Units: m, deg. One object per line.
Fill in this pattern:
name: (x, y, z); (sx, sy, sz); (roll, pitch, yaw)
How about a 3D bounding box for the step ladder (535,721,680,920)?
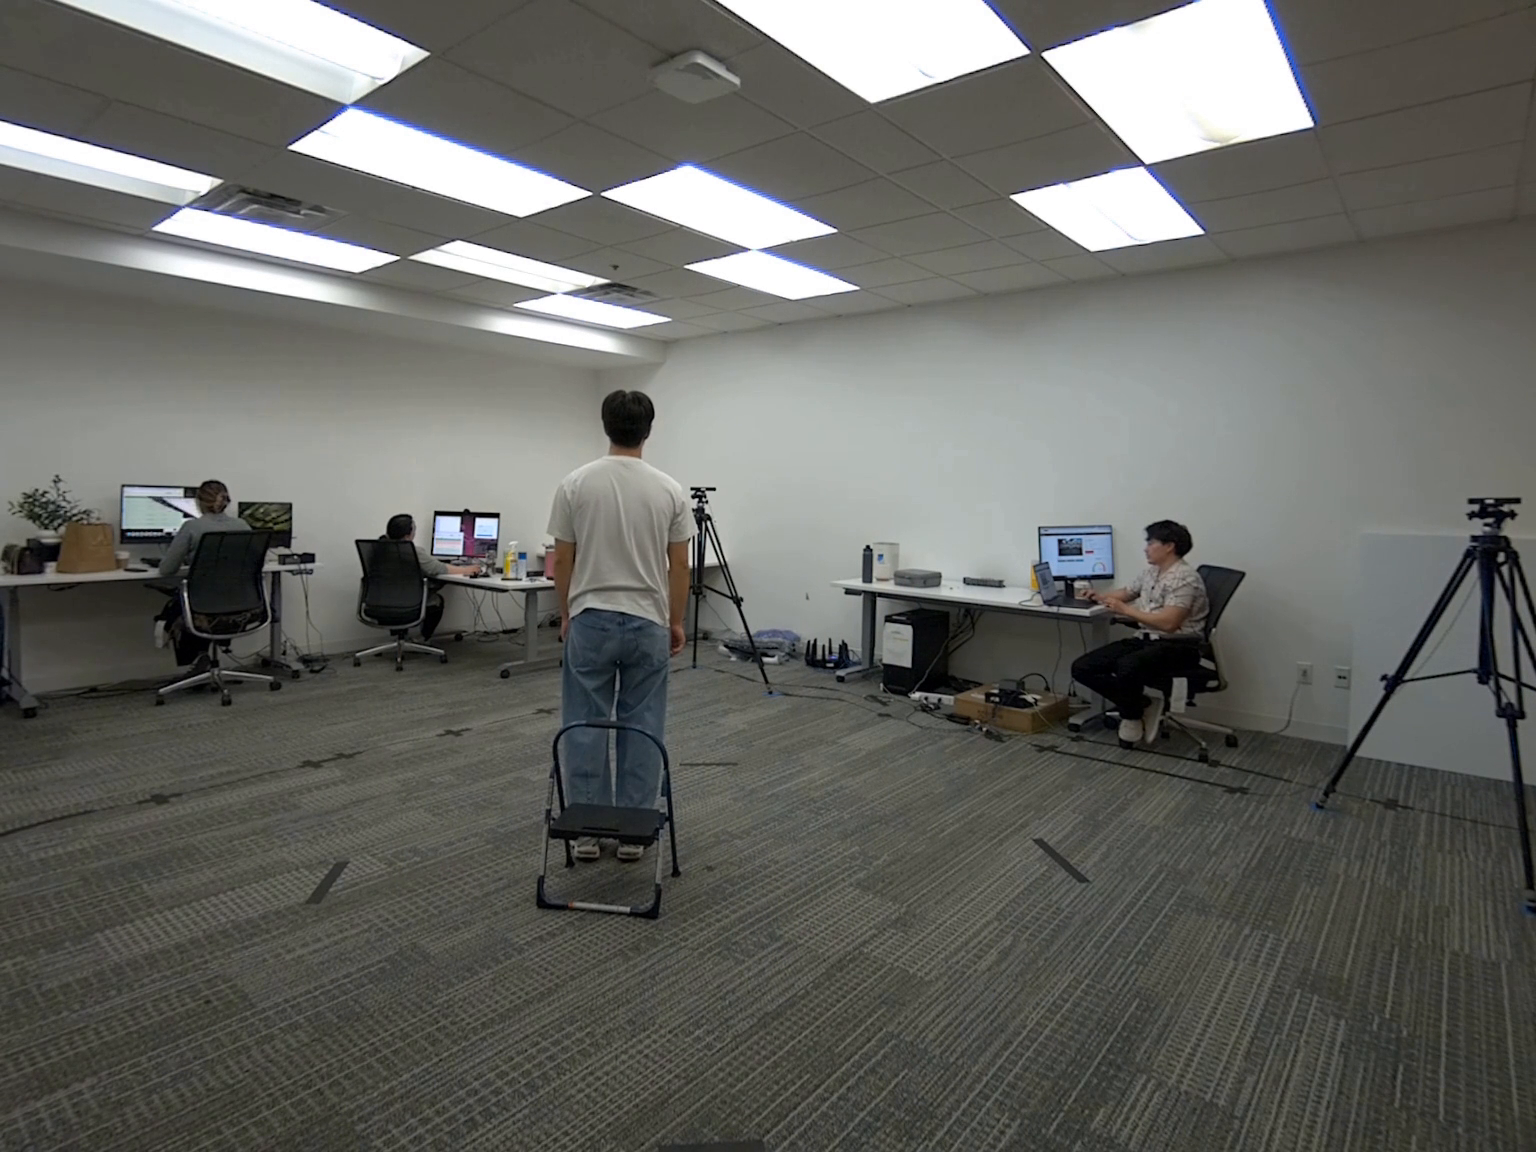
step ladder: (-0.550, 0.778, 2.911); (0.434, 0.604, 0.347); (1, 3, 7)
